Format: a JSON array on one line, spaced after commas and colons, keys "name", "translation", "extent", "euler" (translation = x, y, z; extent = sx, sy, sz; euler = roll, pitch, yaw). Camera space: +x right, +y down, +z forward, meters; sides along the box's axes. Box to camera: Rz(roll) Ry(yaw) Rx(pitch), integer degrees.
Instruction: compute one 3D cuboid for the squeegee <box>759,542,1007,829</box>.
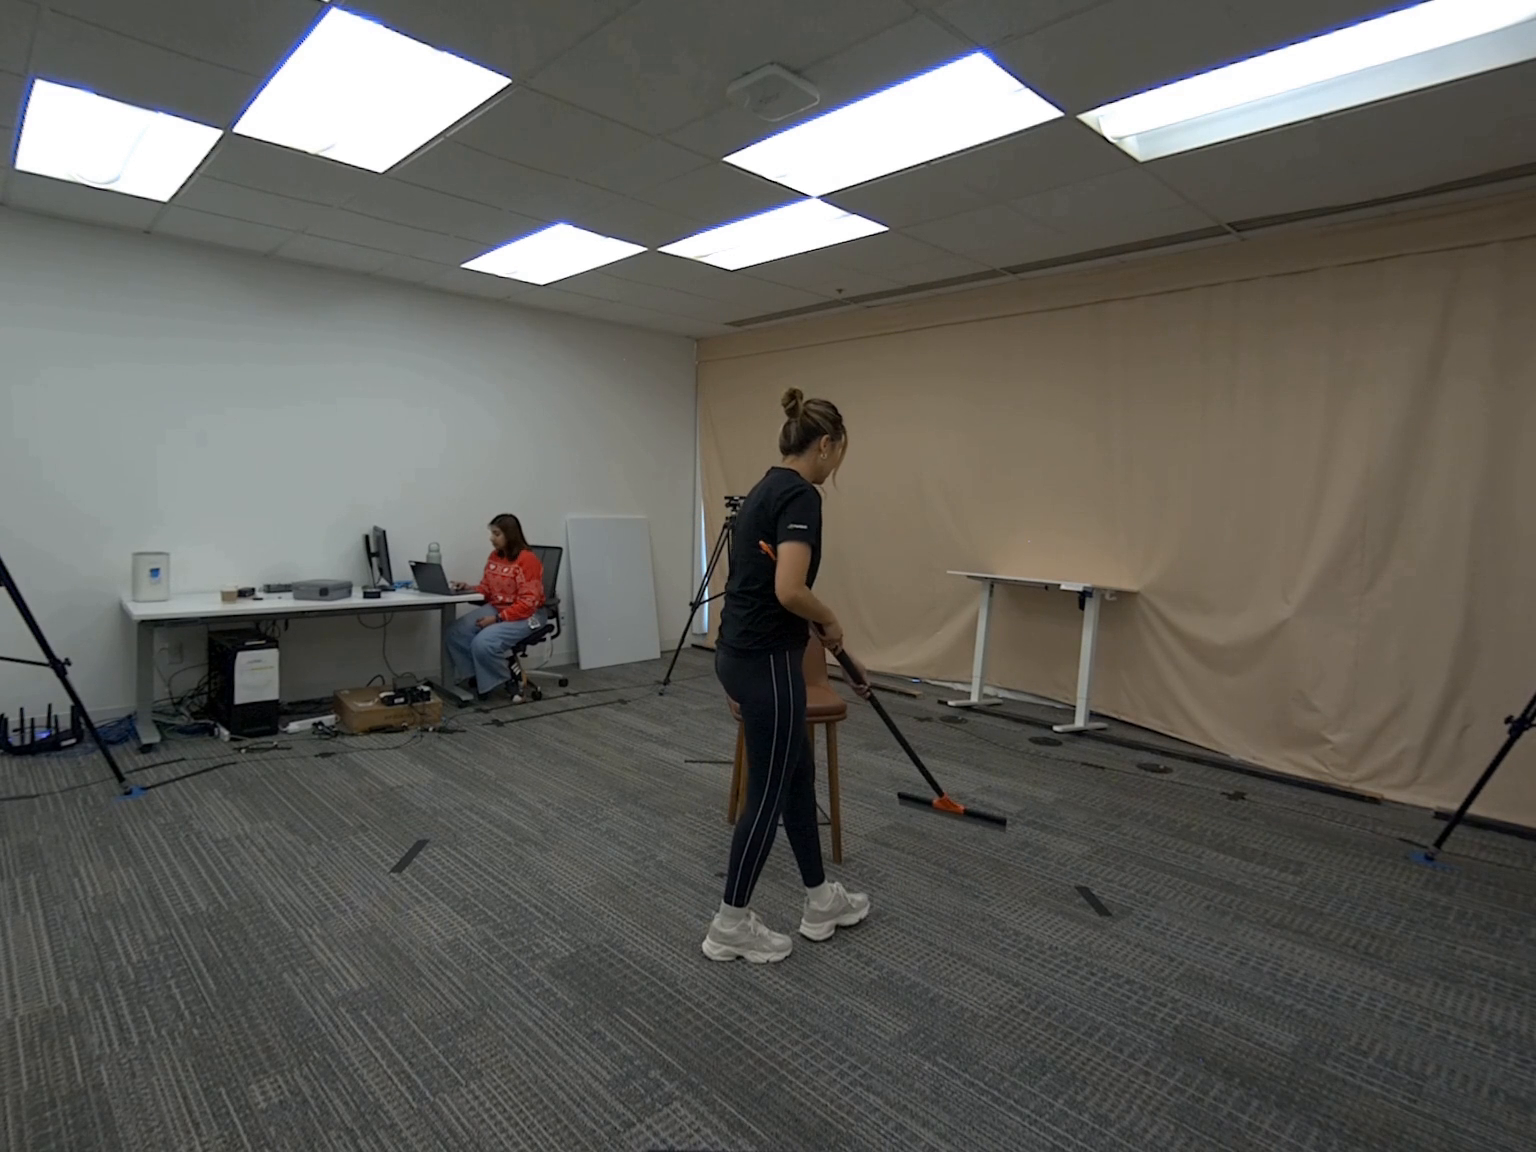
[{"name": "squeegee", "translation": [0.335, 0.408, 2.732], "extent": [0.449, 0.053, 1.491], "euler": [7, -35, 42]}]
